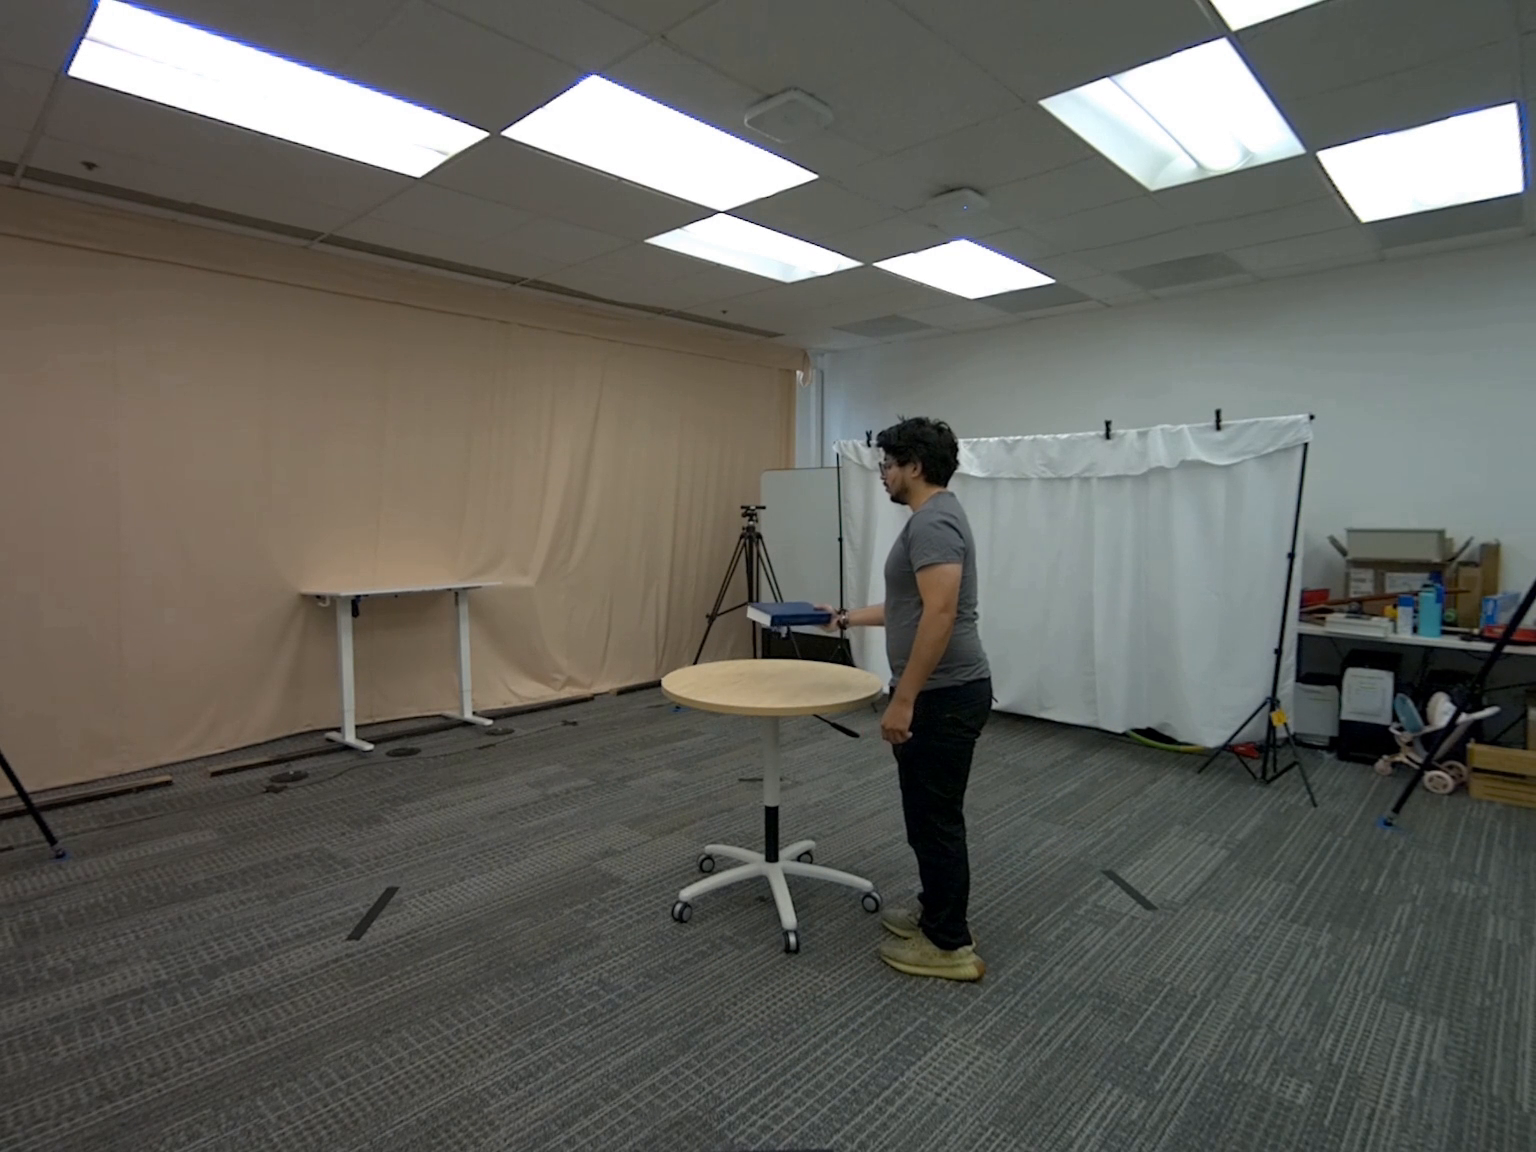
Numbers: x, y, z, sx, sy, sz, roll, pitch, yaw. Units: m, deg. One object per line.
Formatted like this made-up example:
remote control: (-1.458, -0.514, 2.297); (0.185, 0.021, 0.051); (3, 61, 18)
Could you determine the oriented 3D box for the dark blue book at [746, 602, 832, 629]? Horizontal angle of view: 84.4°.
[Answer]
dark blue book: (0.093, 0.135, 2.853); (0.239, 0.045, 0.168); (-1, 9, -28)
